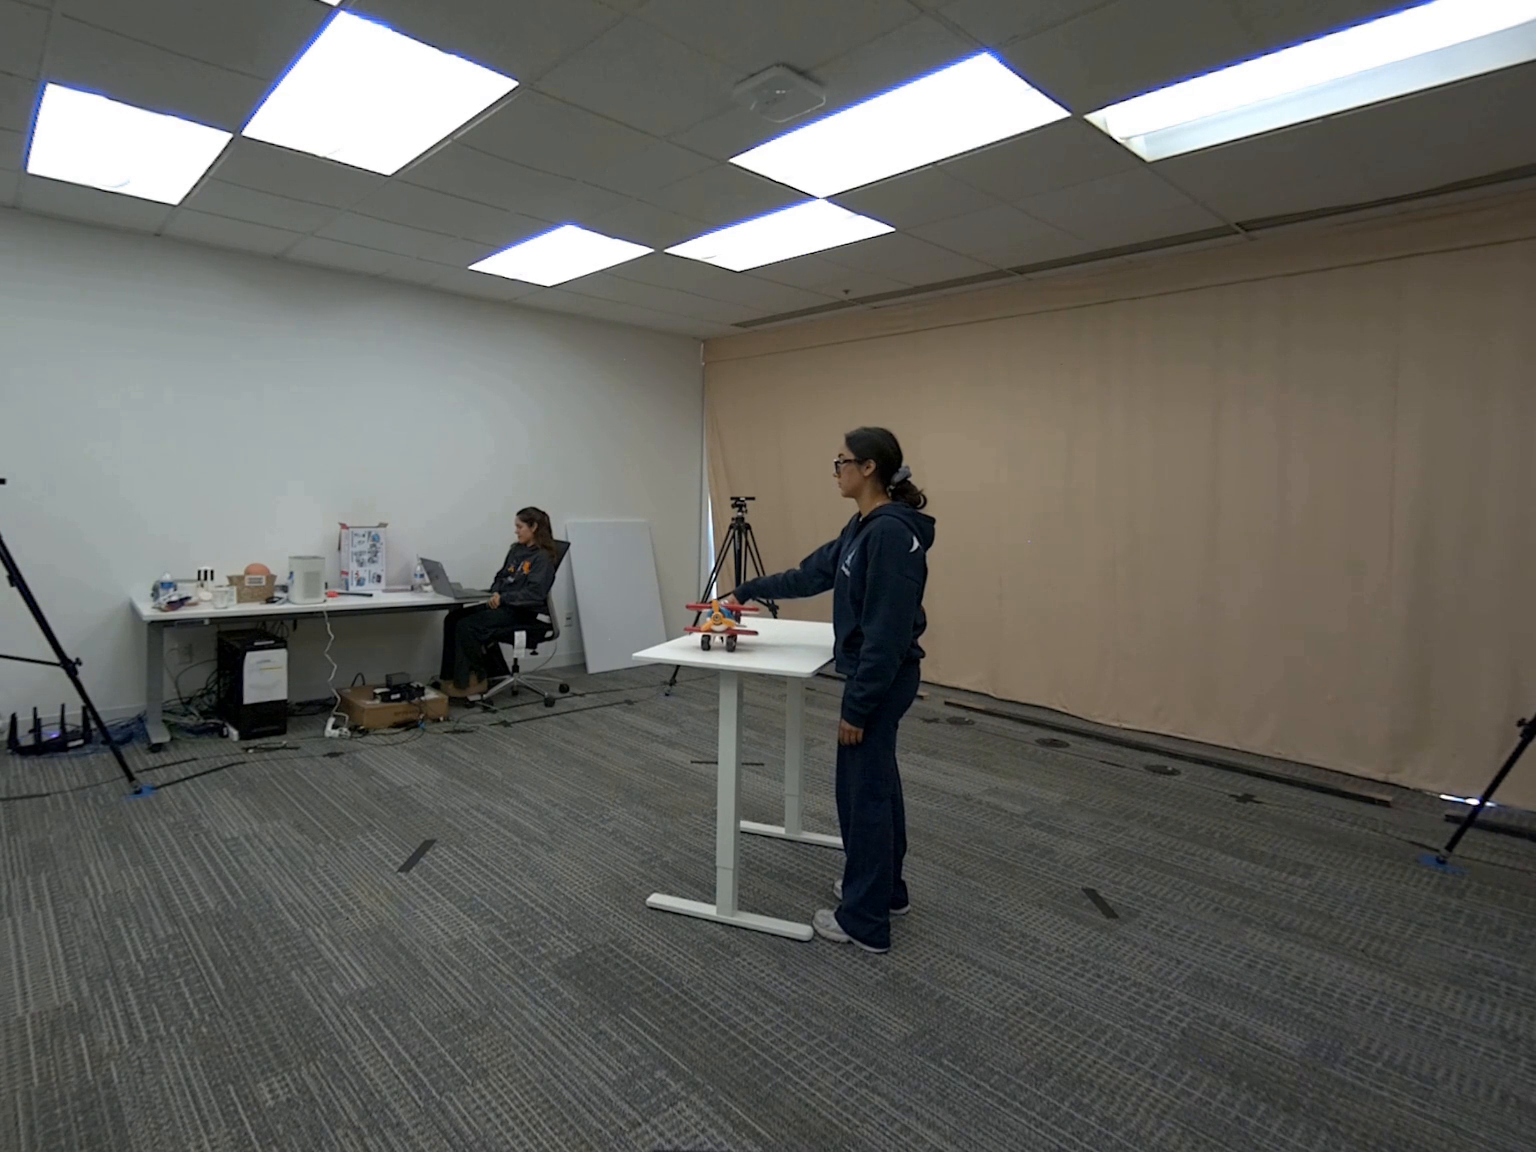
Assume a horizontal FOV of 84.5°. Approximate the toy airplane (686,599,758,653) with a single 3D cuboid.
[{"bbox_3d":[-0.173,0.168,2.919,0.248,0.156,0.264,-1,6,-18],"label":"toy airplane"}]
